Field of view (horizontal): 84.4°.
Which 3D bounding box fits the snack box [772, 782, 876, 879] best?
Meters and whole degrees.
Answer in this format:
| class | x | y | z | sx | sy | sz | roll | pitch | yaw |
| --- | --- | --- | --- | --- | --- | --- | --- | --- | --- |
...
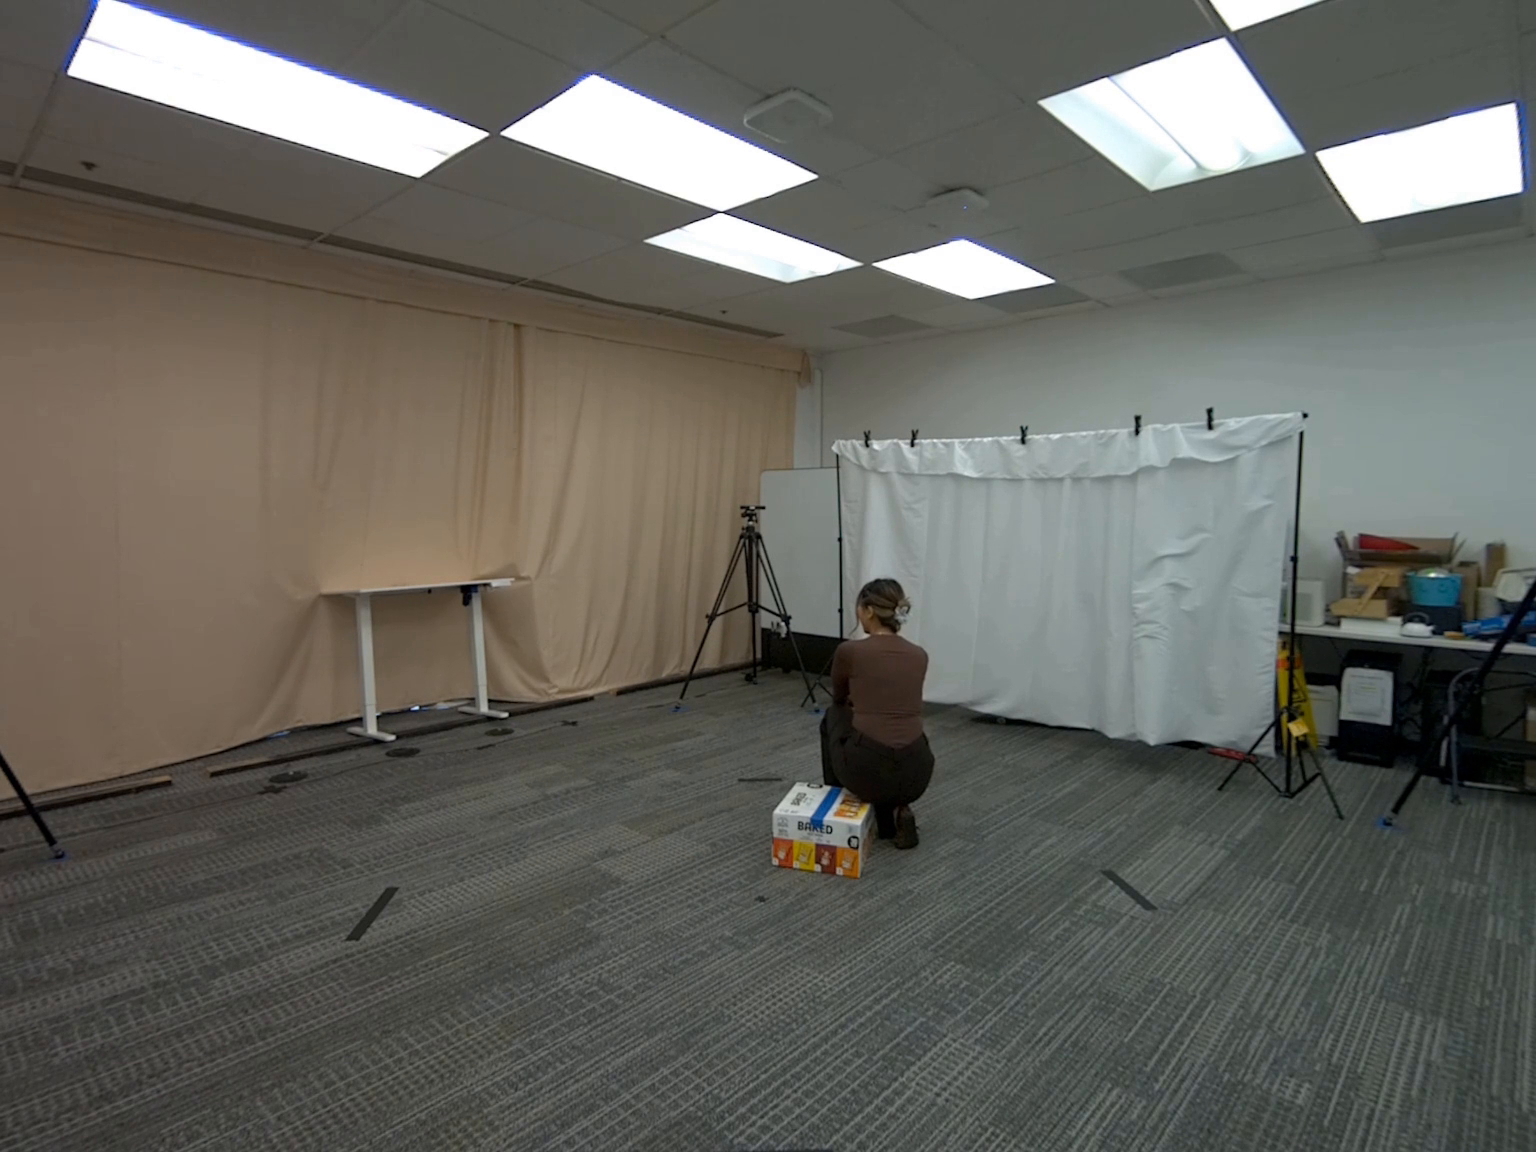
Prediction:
| class | x | y | z | sx | sy | sz | roll | pitch | yaw |
| --- | --- | --- | --- | --- | --- | --- | --- | --- | --- |
| snack box | 0.235 | 1.007 | 3.383 | 0.347 | 0.205 | 0.398 | 2 | 4 | 18 |
